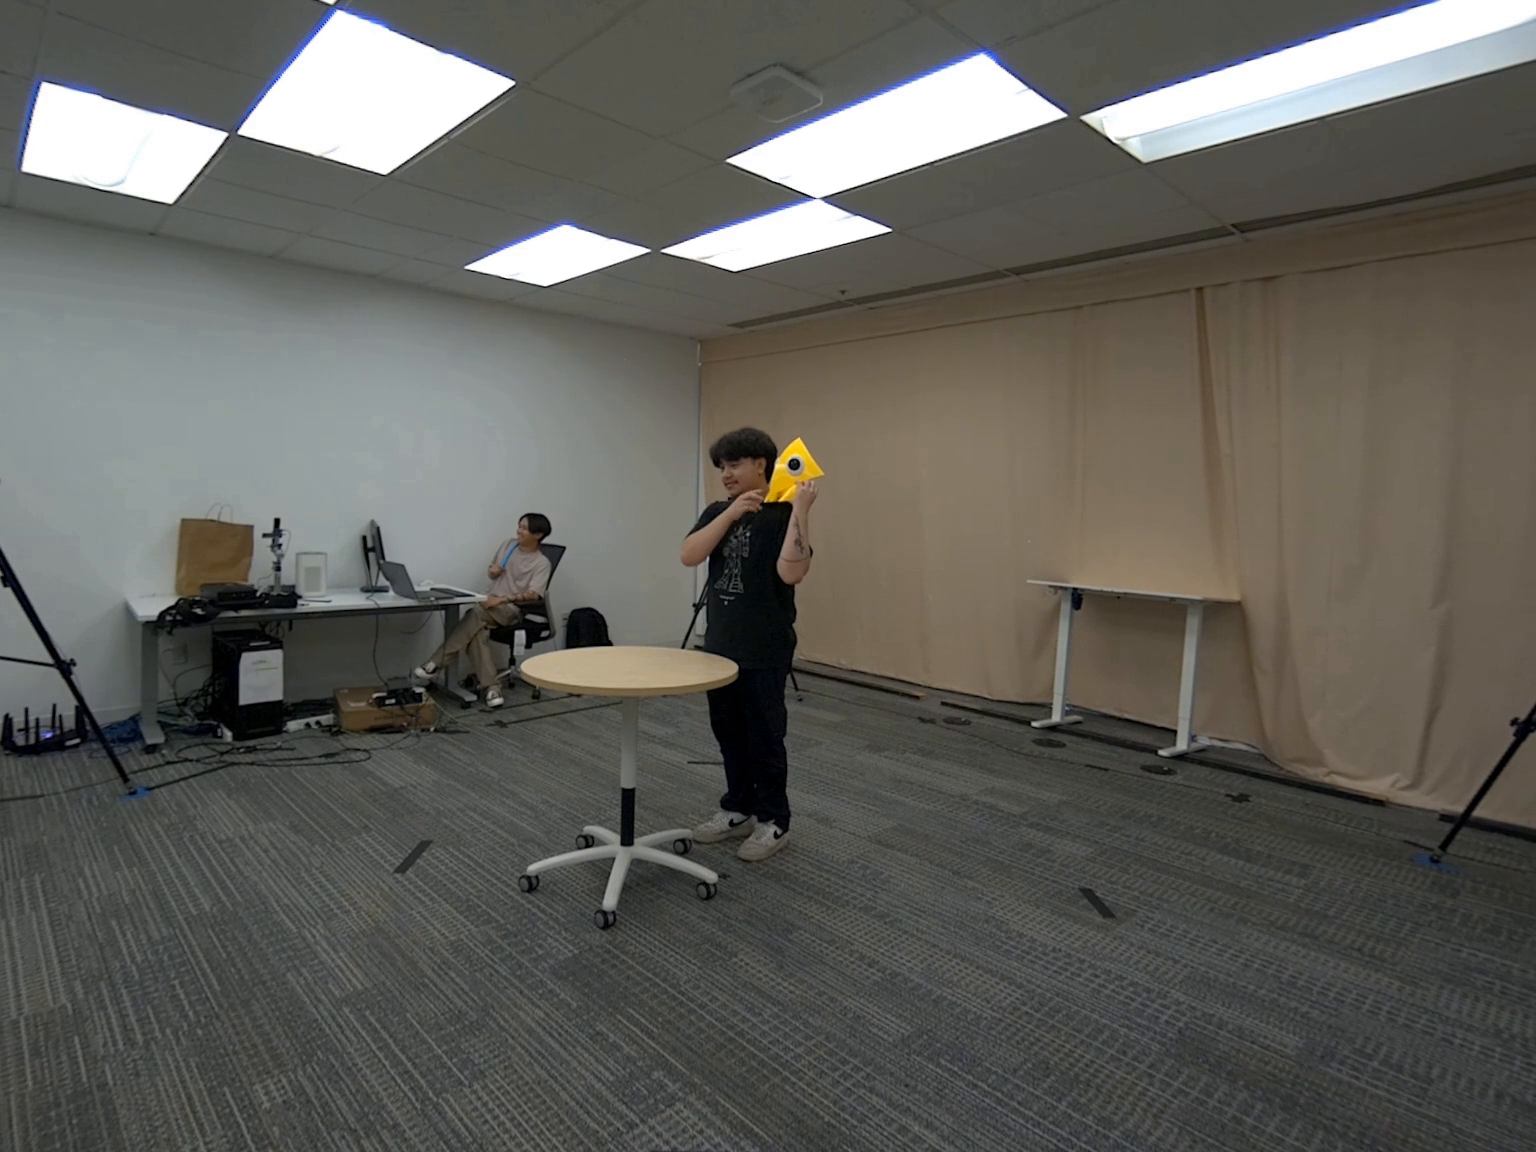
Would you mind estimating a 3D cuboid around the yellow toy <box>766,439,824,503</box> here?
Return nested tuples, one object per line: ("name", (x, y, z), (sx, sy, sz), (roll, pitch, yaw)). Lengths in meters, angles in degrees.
("yellow toy", (0.073, -0.408, 3.213), (0.190, 0.230, 0.209), (-11, 6, -26))
